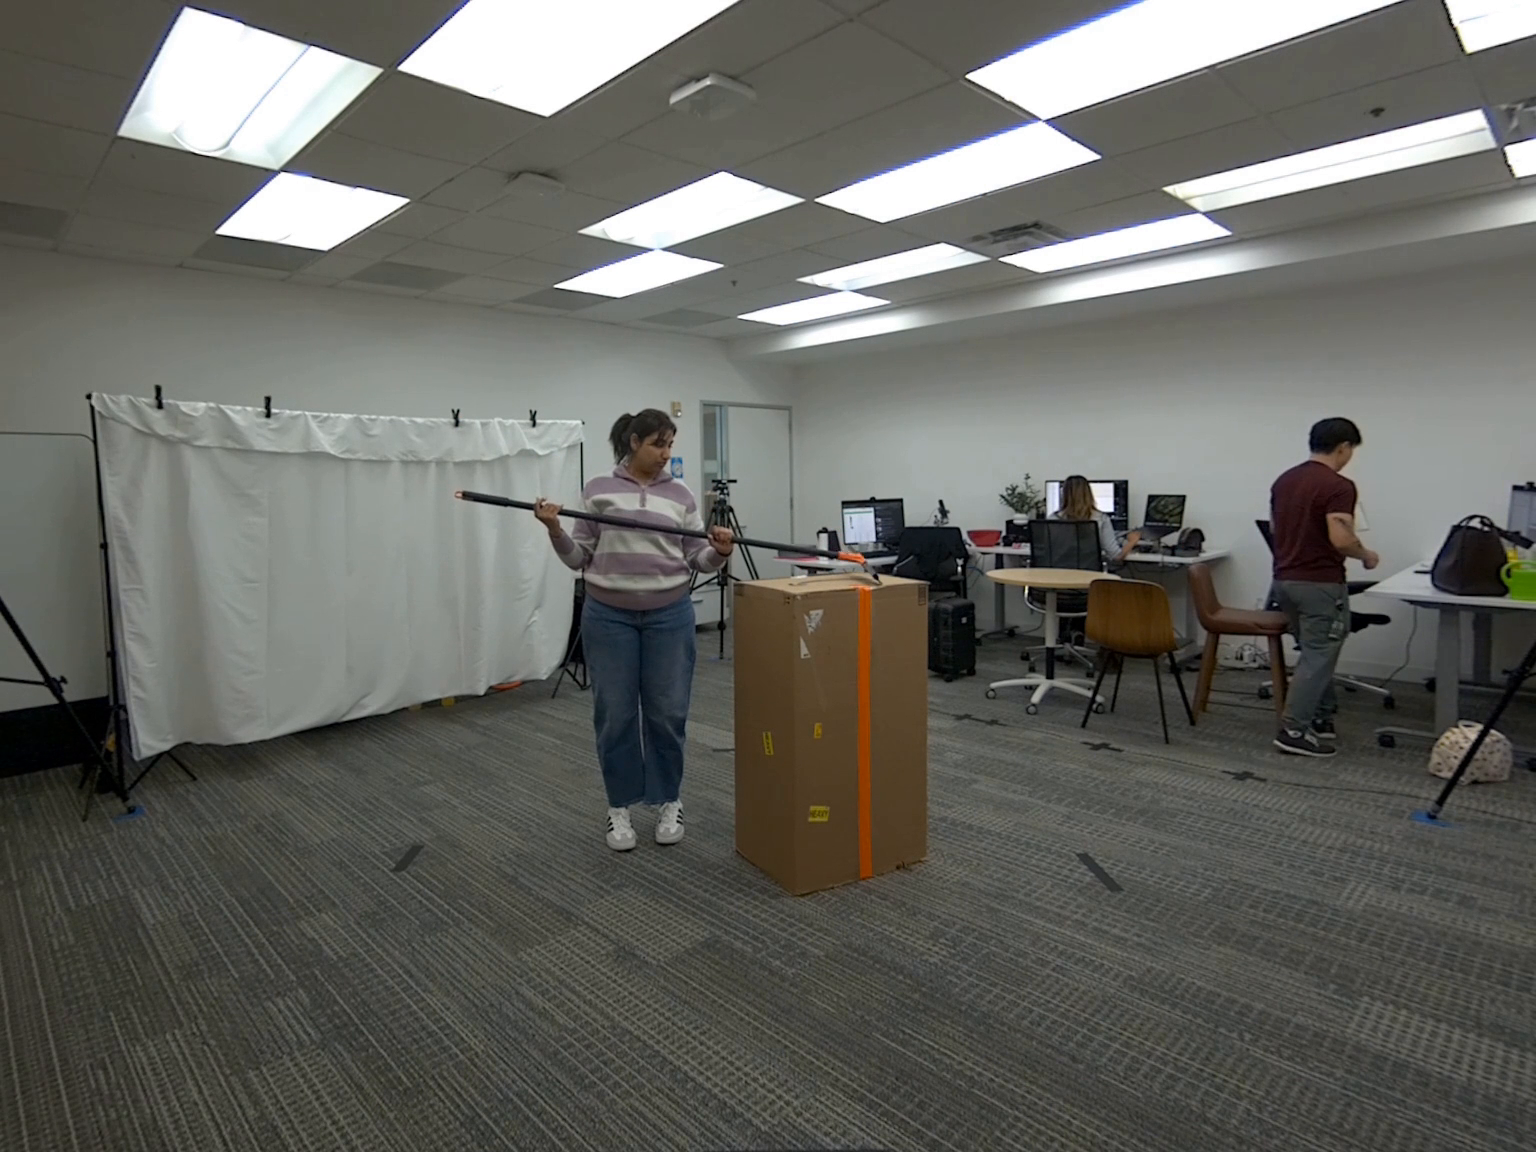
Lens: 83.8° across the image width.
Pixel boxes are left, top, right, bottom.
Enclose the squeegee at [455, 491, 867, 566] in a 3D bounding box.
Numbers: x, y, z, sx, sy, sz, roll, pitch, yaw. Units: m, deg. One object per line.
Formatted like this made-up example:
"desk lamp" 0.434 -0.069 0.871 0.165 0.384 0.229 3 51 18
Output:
"squeegee" -0.376 -0.179 3.130 1.530 0.052 0.443 10 10 -5
